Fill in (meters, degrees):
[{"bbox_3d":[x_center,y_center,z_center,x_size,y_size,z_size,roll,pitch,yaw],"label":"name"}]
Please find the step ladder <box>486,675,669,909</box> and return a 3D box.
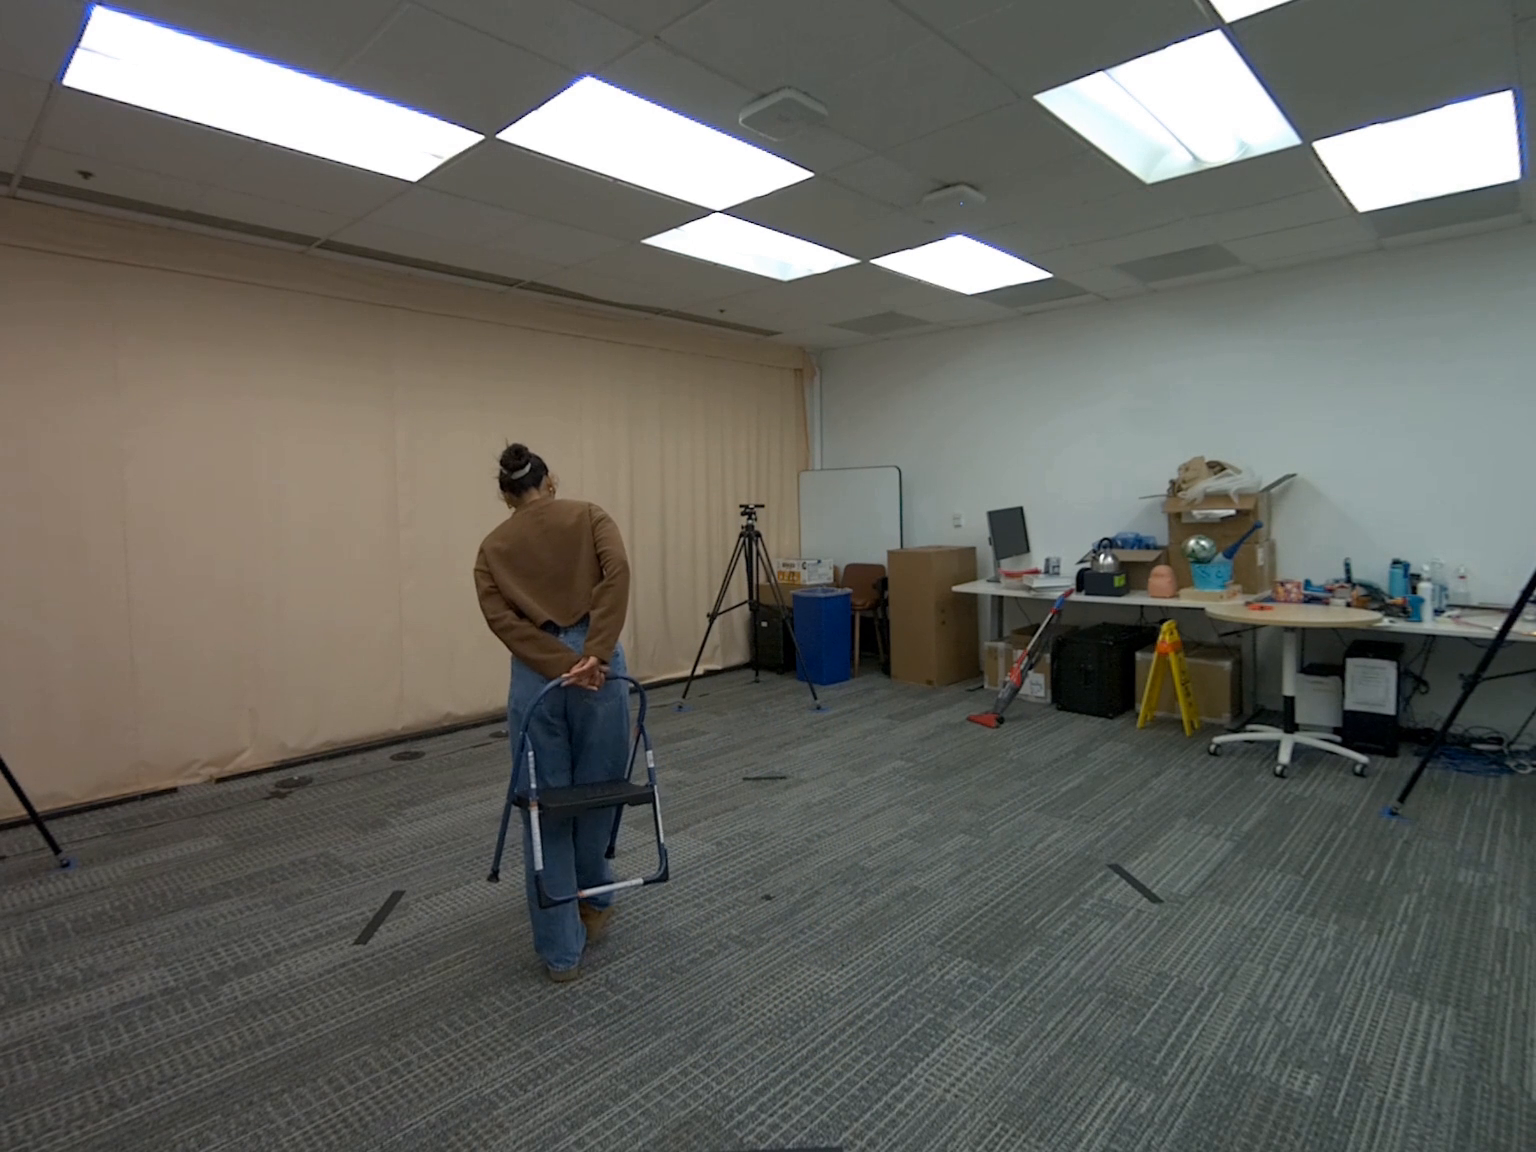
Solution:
[{"bbox_3d":[-0.546,0.594,2.472,0.417,0.607,0.360,3,-5,-41],"label":"step ladder"}]
